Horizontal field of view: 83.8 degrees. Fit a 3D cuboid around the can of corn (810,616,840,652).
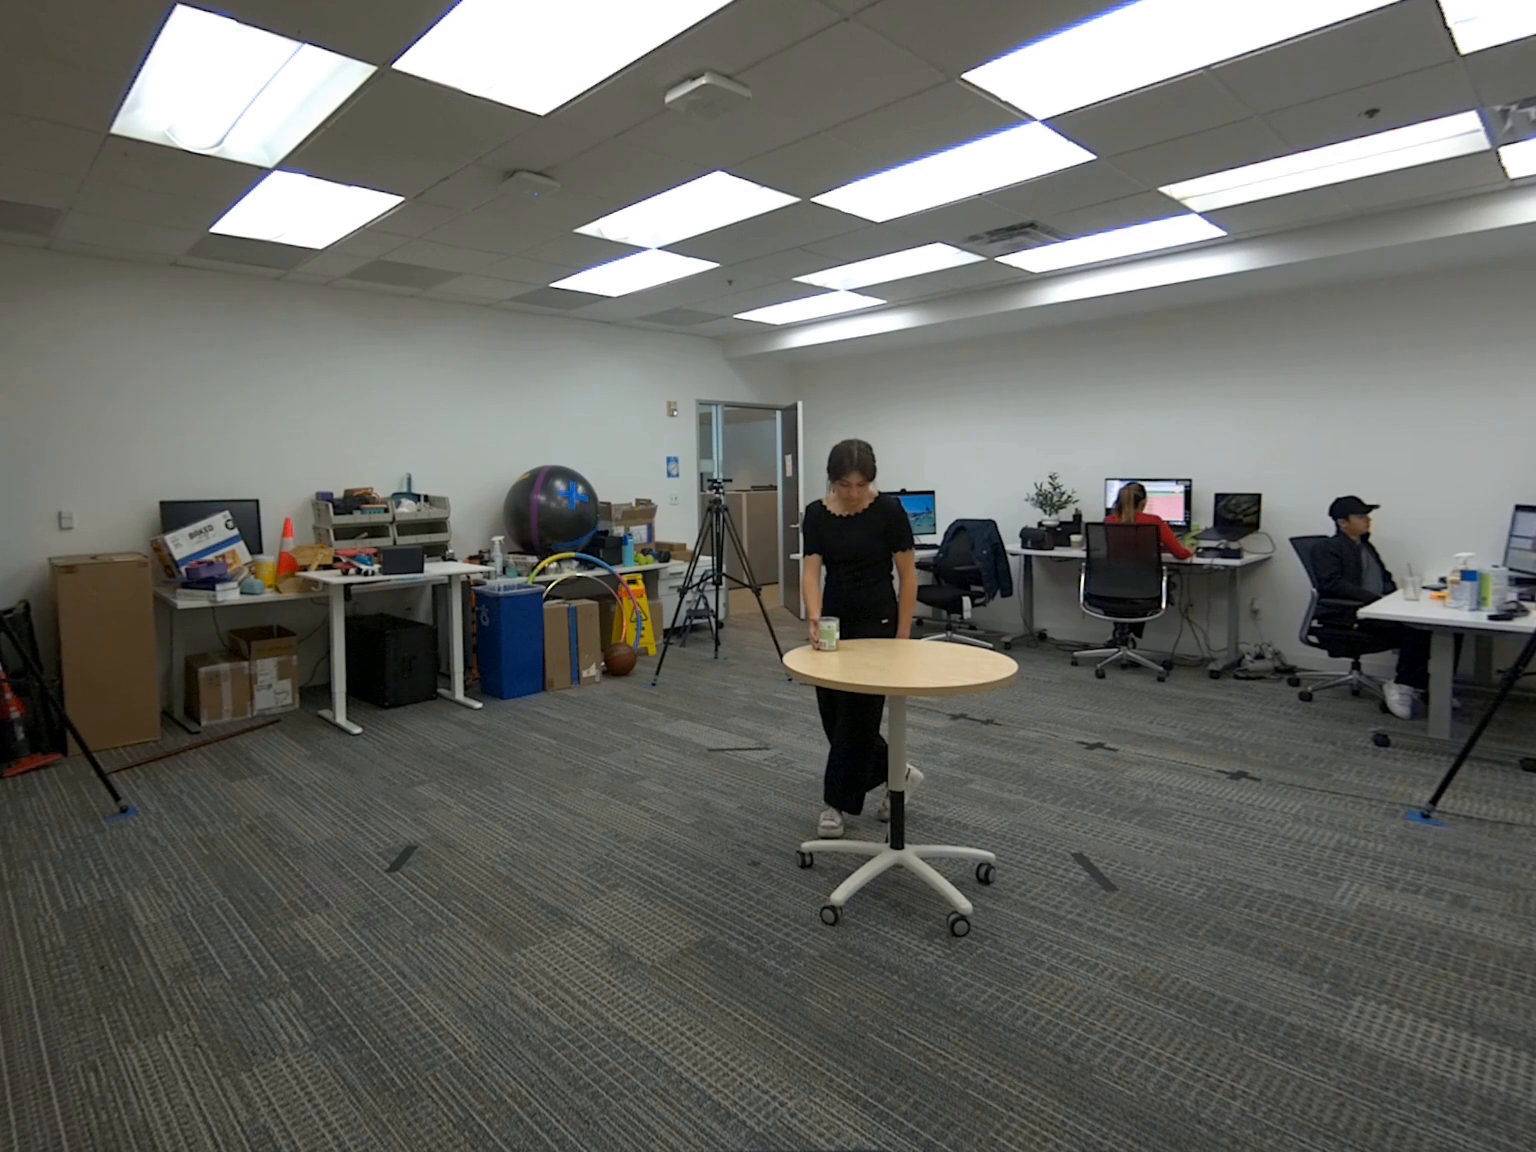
[{"bbox_3d":[0.217,0.209,3.033,0.074,0.111,0.074,-2,4,-2],"label":"can of corn"}]
